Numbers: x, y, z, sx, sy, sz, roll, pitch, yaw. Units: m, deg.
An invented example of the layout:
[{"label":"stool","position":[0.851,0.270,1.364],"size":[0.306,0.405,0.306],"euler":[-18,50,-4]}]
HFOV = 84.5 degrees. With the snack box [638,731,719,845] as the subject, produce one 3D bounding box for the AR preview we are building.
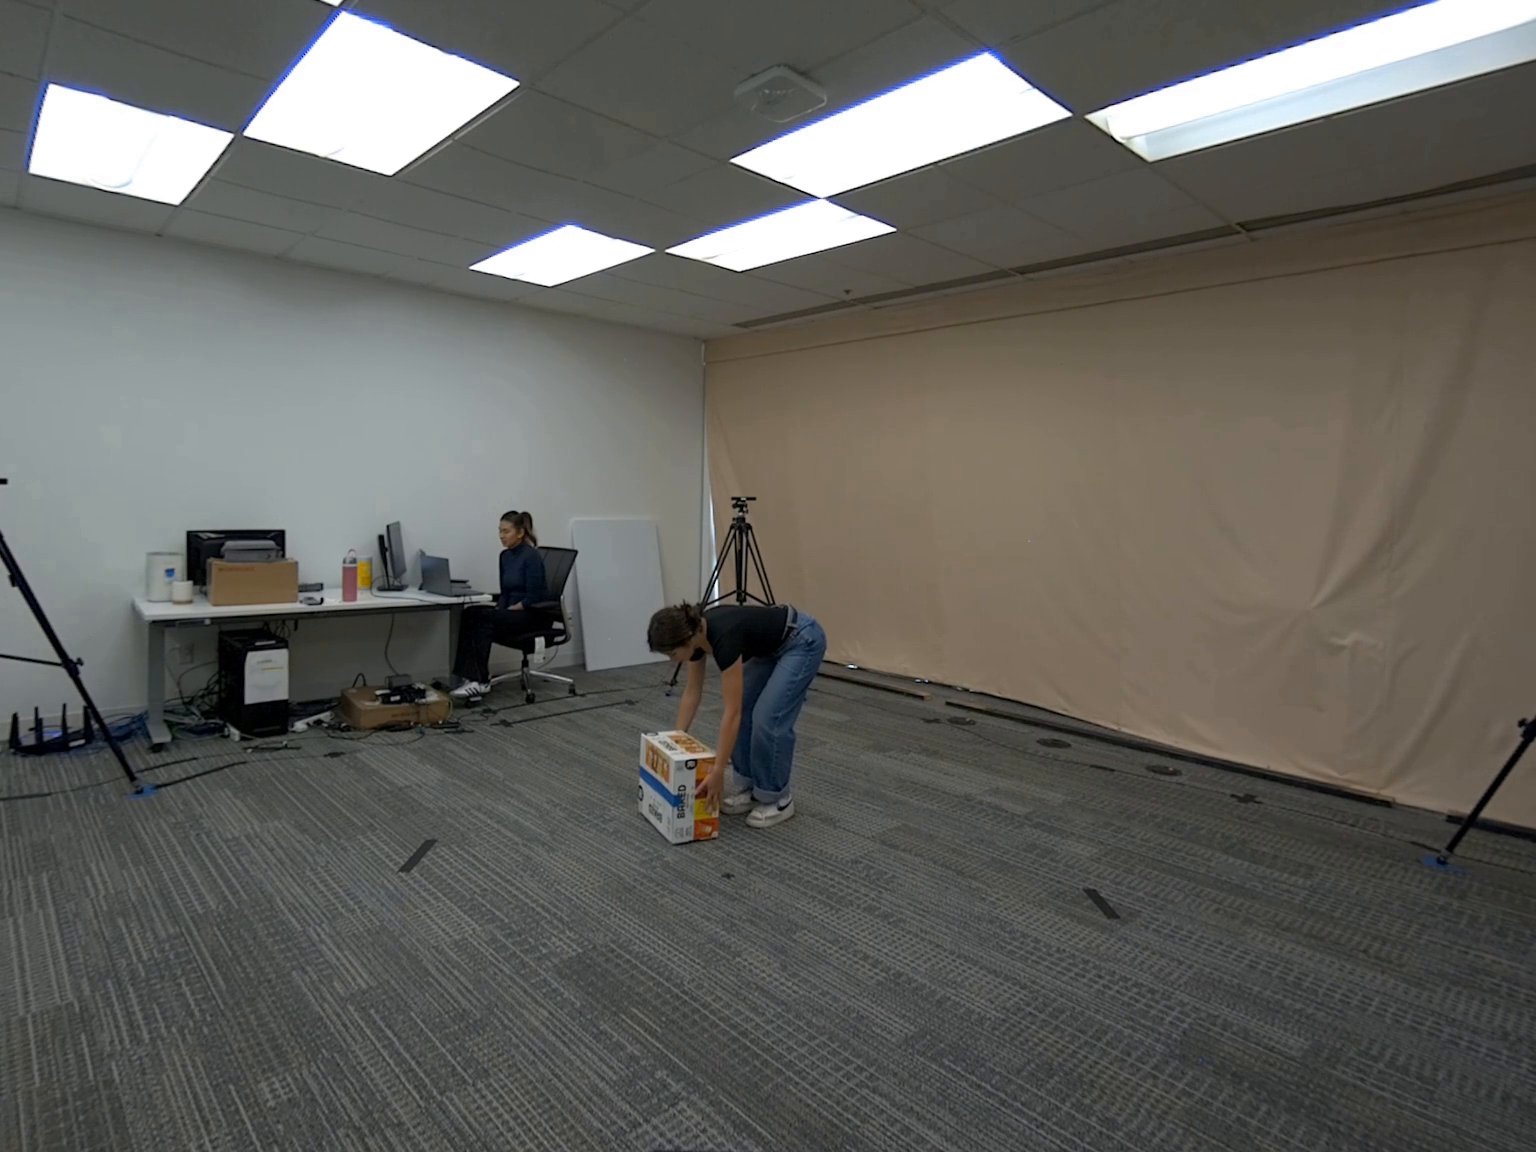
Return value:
[{"label":"snack box","position":[-0.392,0.882,3.564],"size":[0.202,0.340,0.414],"euler":[2,3,-28]}]
